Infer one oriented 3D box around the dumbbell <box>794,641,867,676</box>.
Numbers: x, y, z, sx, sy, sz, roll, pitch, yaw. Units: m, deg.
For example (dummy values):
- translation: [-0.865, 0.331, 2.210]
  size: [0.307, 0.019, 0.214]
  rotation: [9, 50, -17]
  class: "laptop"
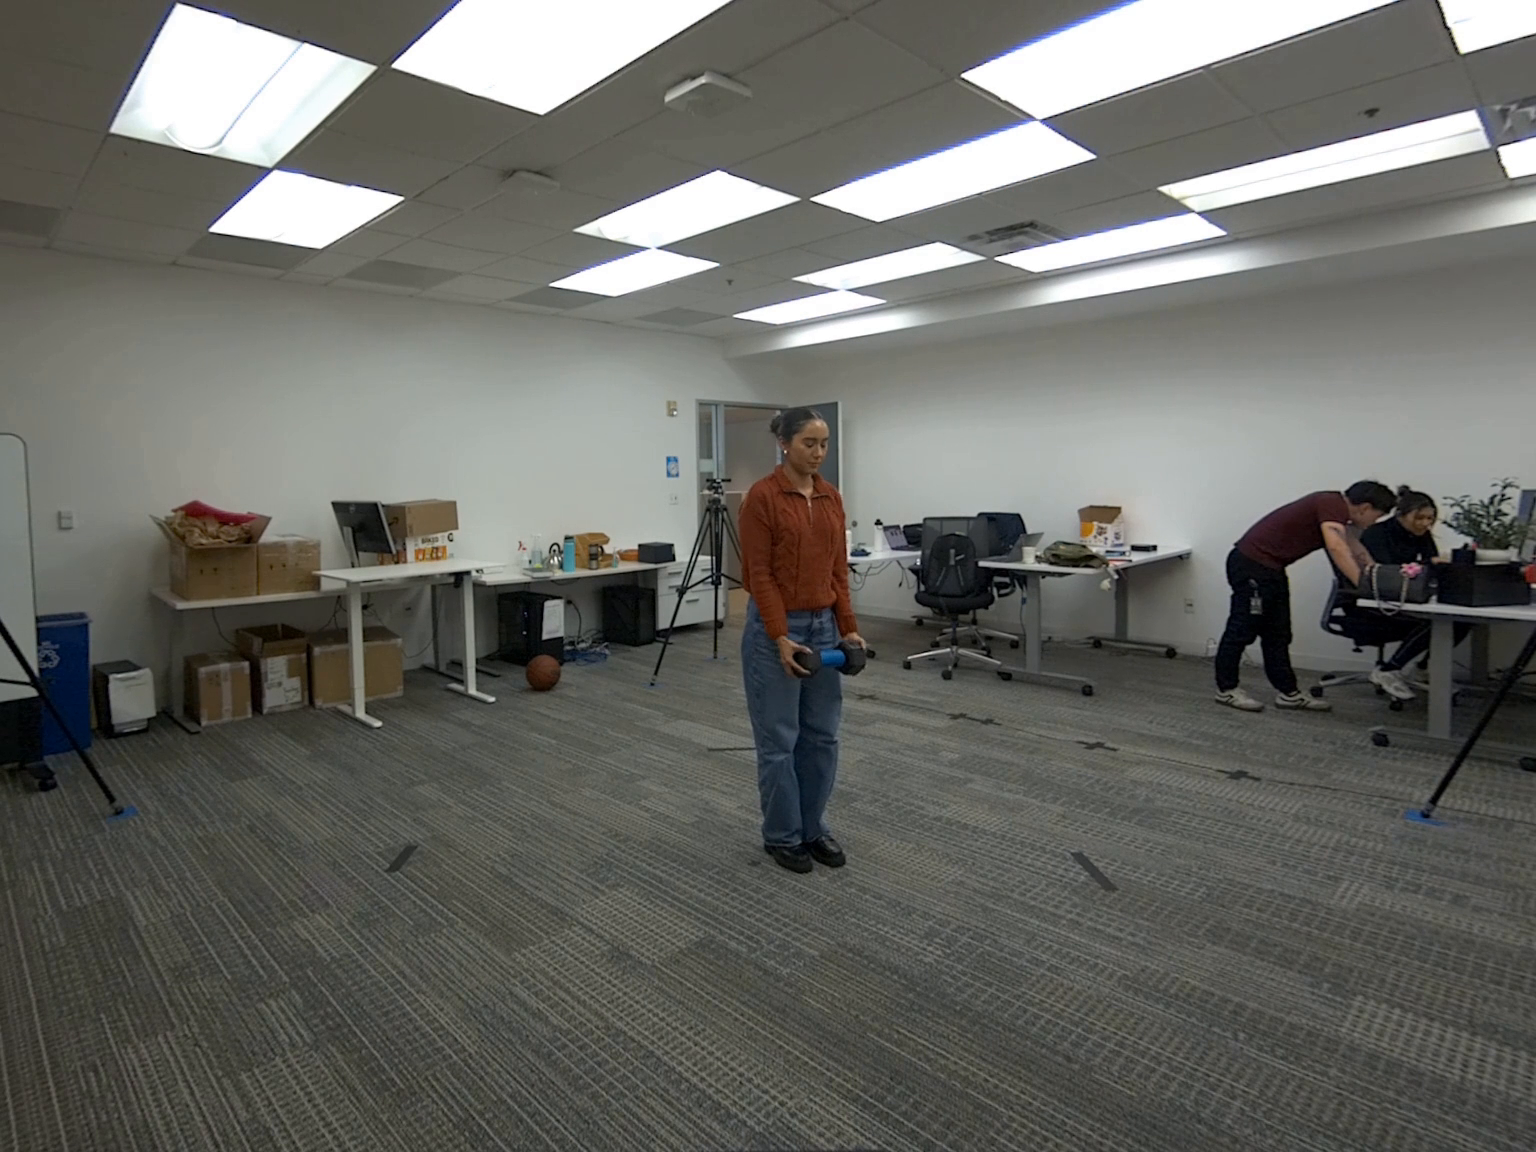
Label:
- translation: [0.197, 0.284, 3.001]
  size: [0.286, 0.124, 0.111]
  rotation: [1, -9, -33]
  class: "dumbbell"
